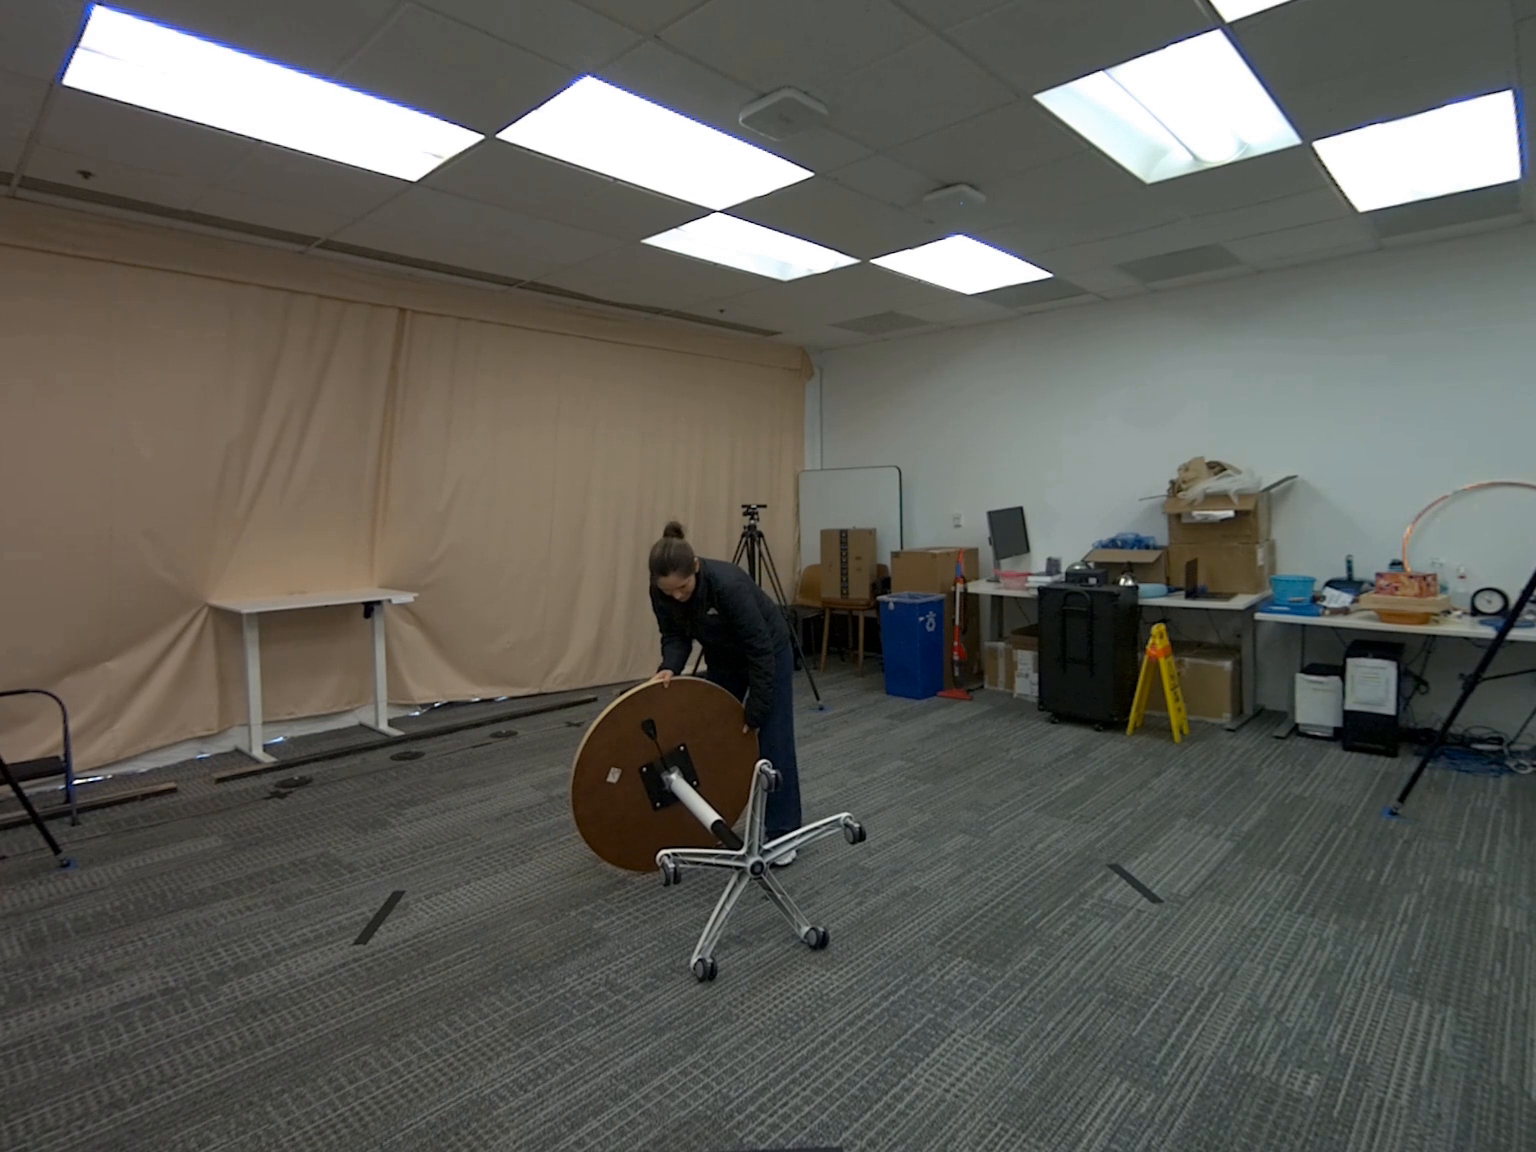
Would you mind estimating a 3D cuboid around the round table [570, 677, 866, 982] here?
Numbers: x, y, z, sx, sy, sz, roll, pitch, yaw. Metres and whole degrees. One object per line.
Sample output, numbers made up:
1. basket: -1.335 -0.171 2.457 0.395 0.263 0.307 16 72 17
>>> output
1. round table: -0.169 0.822 2.845 0.764 0.781 0.812 -3 11 -31
